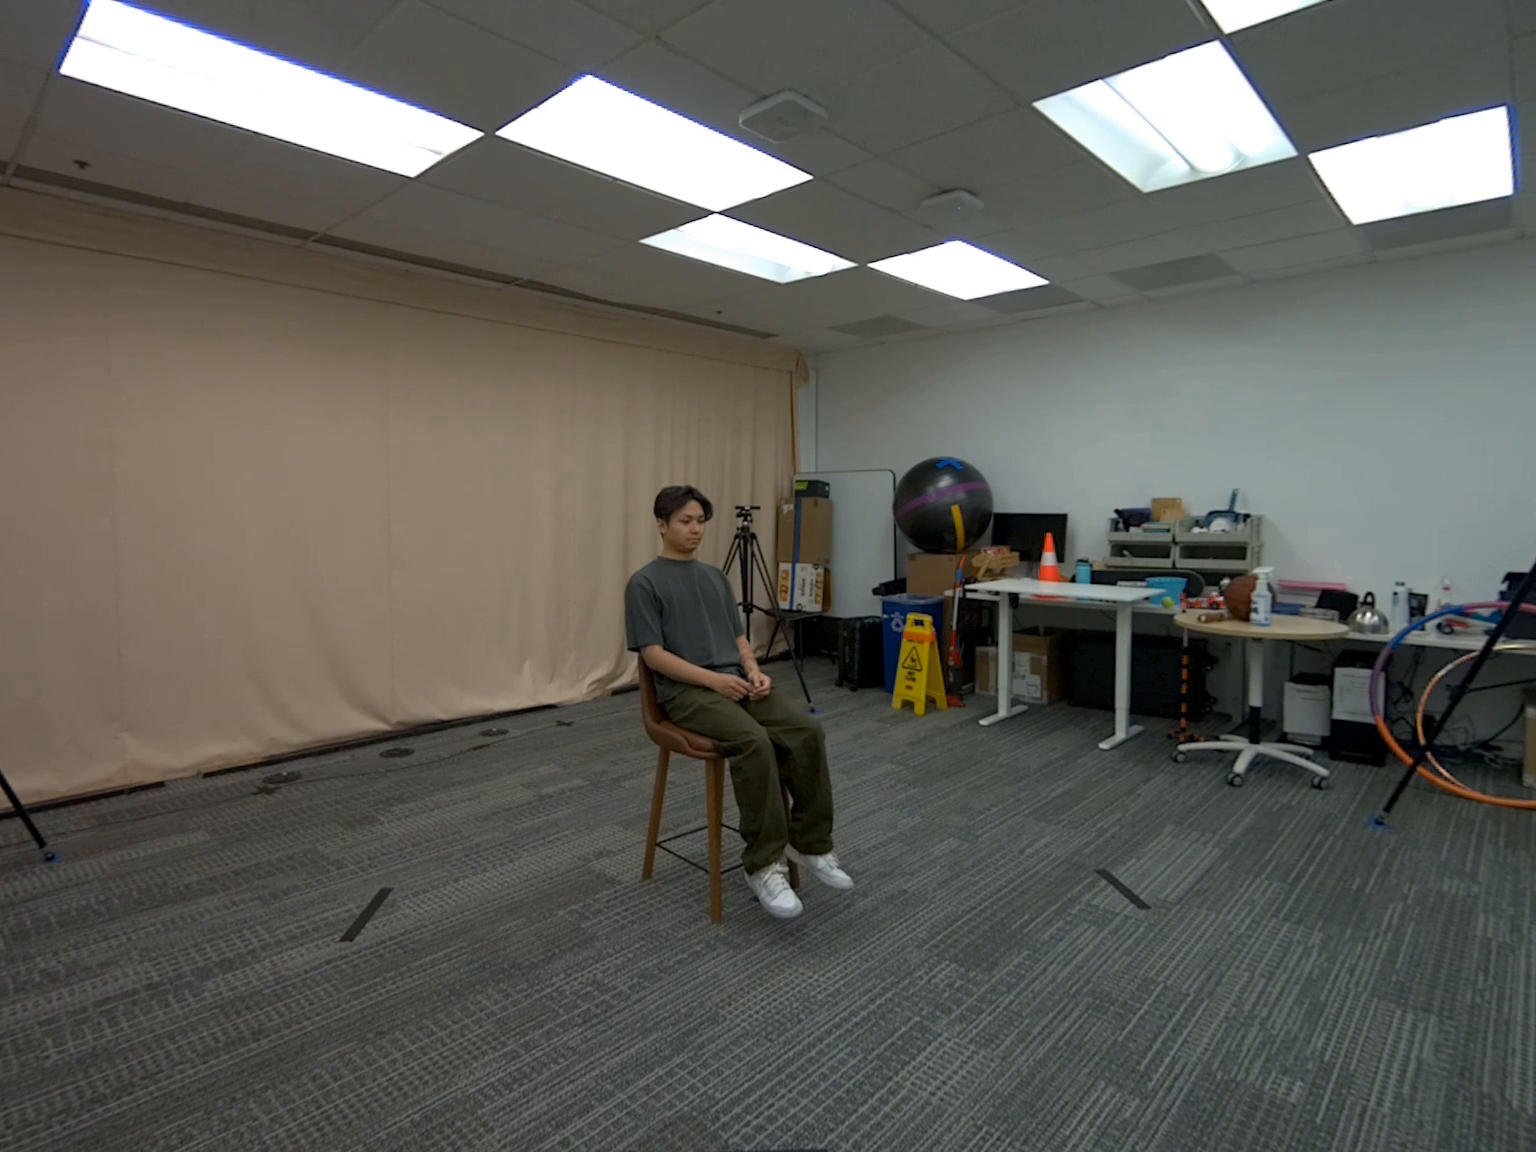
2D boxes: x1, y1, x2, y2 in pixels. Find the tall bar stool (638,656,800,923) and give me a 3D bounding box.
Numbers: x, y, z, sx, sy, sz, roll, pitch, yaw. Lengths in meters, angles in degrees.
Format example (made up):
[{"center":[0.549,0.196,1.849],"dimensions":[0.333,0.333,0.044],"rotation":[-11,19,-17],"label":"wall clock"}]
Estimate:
[{"center":[-0.198,0.703,3.096],"dimensions":[0.442,0.889,0.482],"rotation":[-4,2,-43],"label":"tall bar stool"}]
